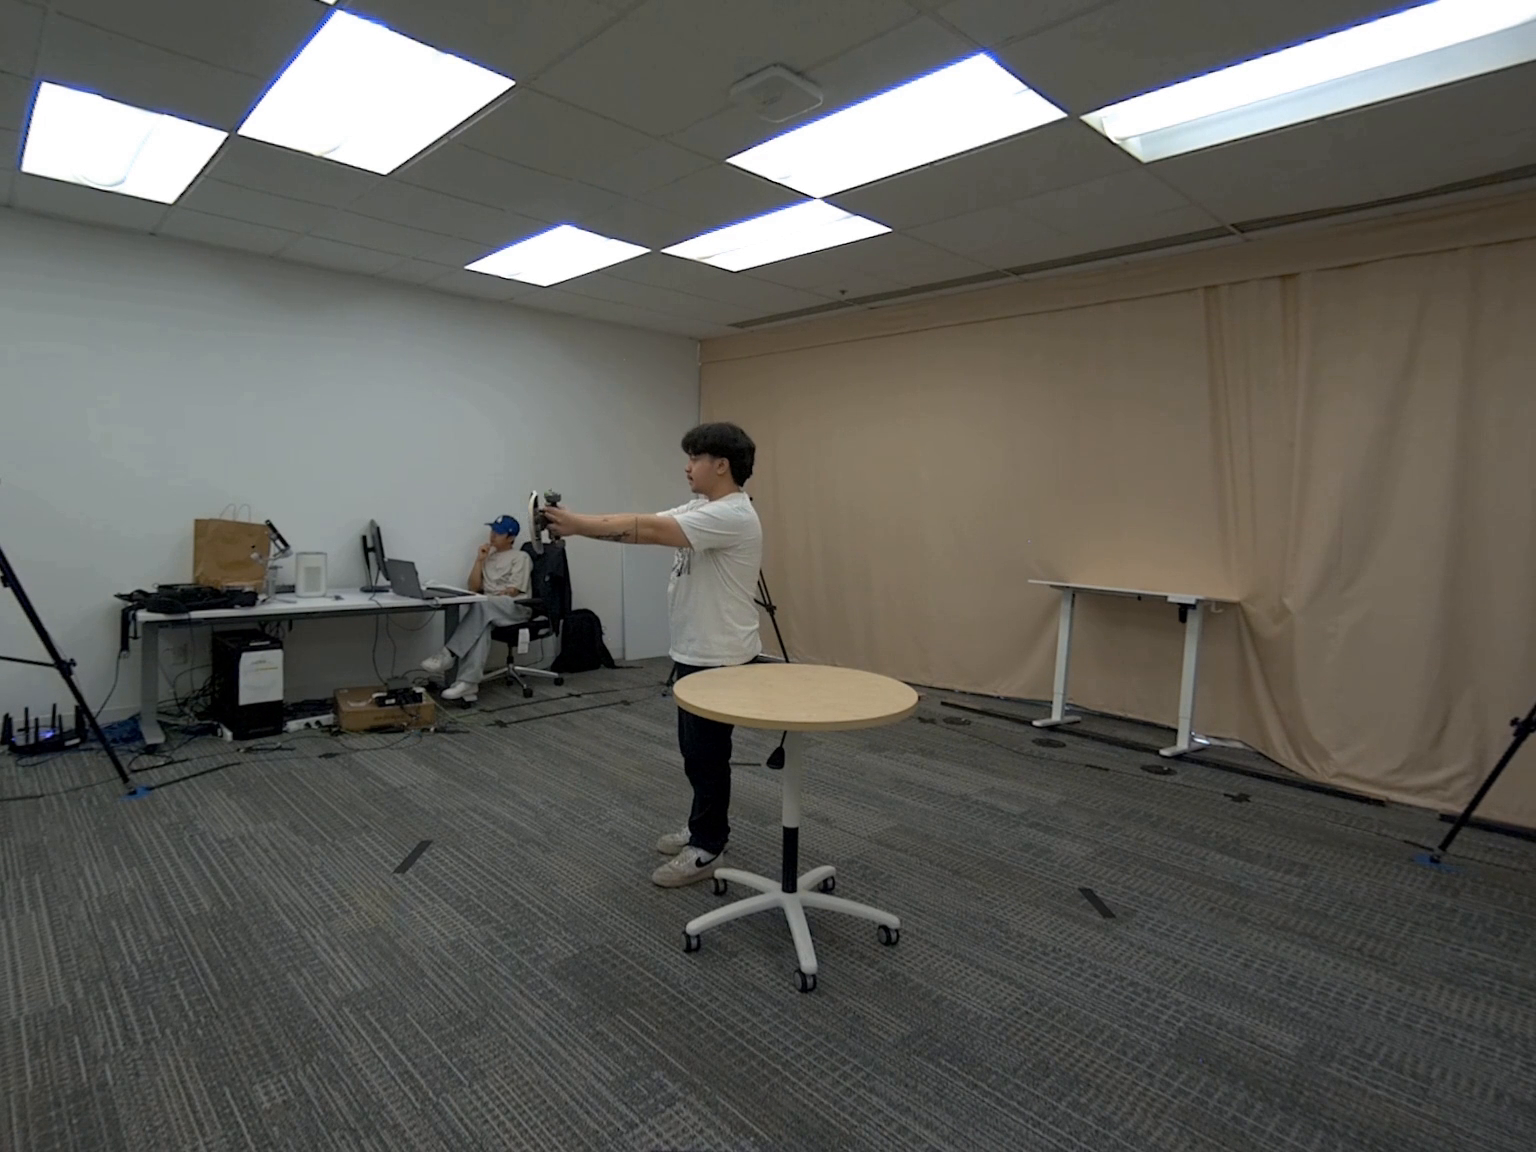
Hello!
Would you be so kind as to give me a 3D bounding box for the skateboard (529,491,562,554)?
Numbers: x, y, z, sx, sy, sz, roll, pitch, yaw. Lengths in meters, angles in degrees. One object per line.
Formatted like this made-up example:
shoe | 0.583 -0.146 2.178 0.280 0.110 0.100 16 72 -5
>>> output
skateboard | -0.789 -0.199 2.967 0.109 0.192 0.797 -2 7 -15
